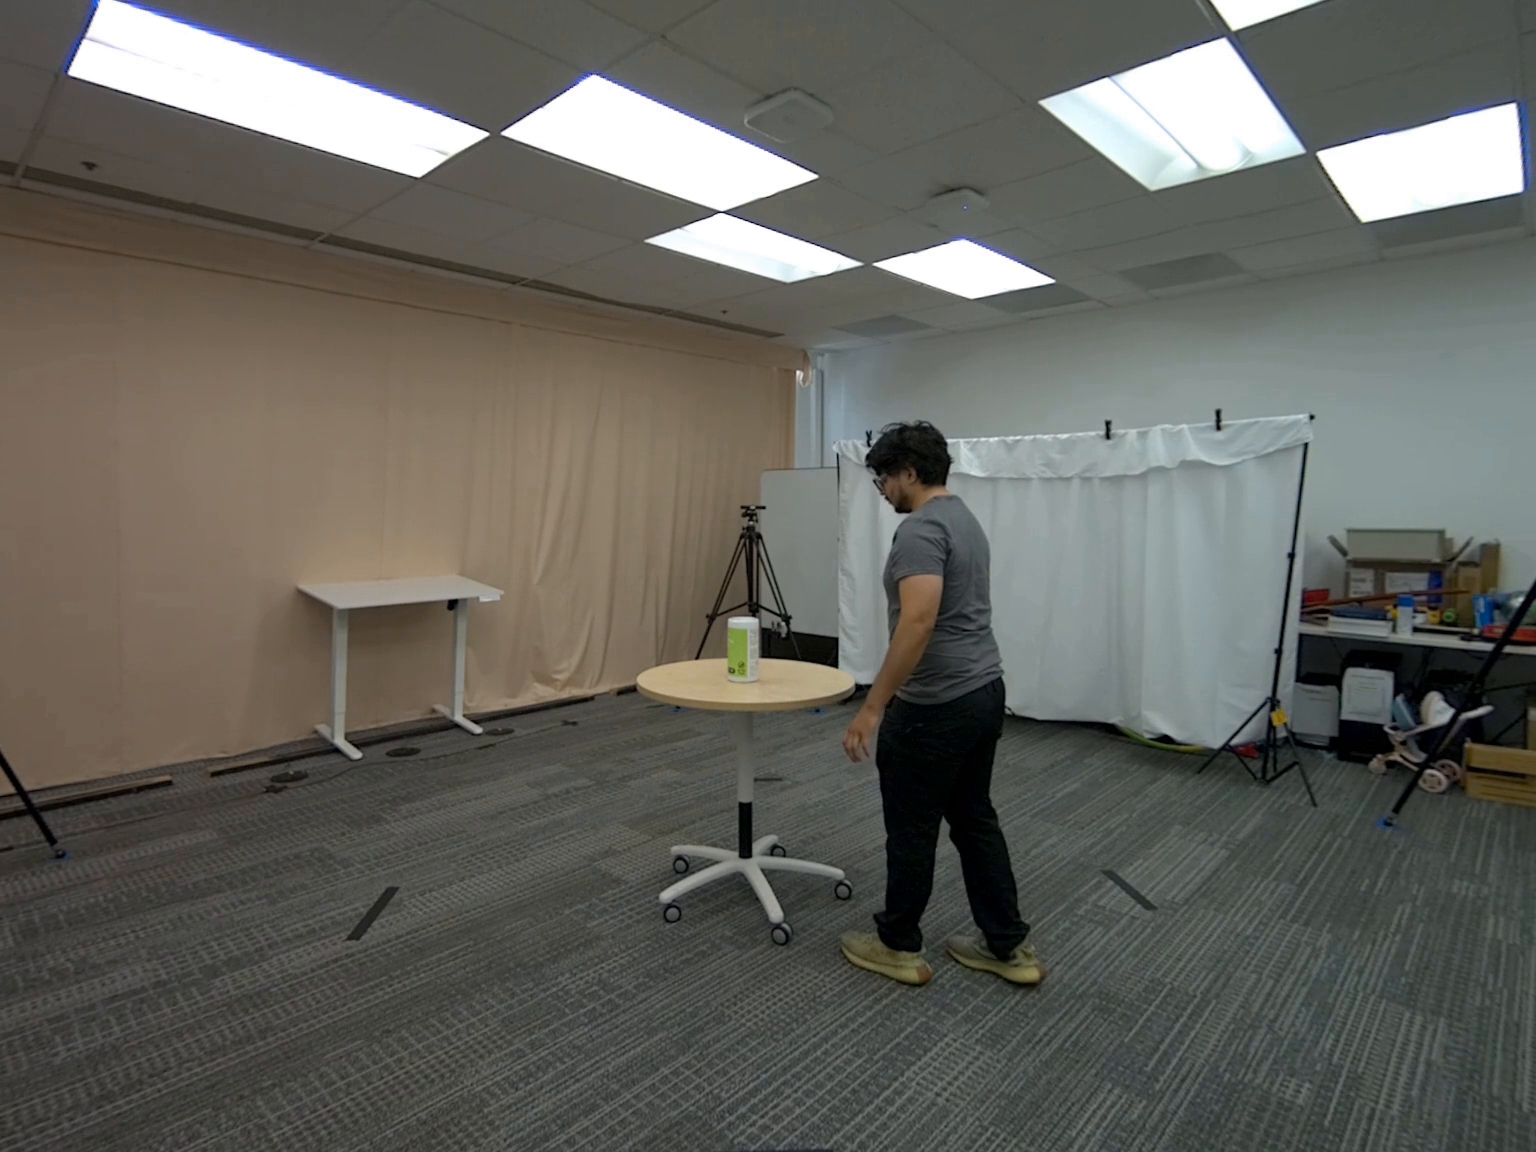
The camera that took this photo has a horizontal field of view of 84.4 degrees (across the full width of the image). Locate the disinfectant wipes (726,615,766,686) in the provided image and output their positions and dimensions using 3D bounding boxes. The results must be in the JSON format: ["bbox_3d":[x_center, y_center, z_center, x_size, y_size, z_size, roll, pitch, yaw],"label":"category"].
[{"bbox_3d":[-0.079,0.253,2.933,0.117,0.217,0.118,3,4,-2],"label":"disinfectant wipes"}]
